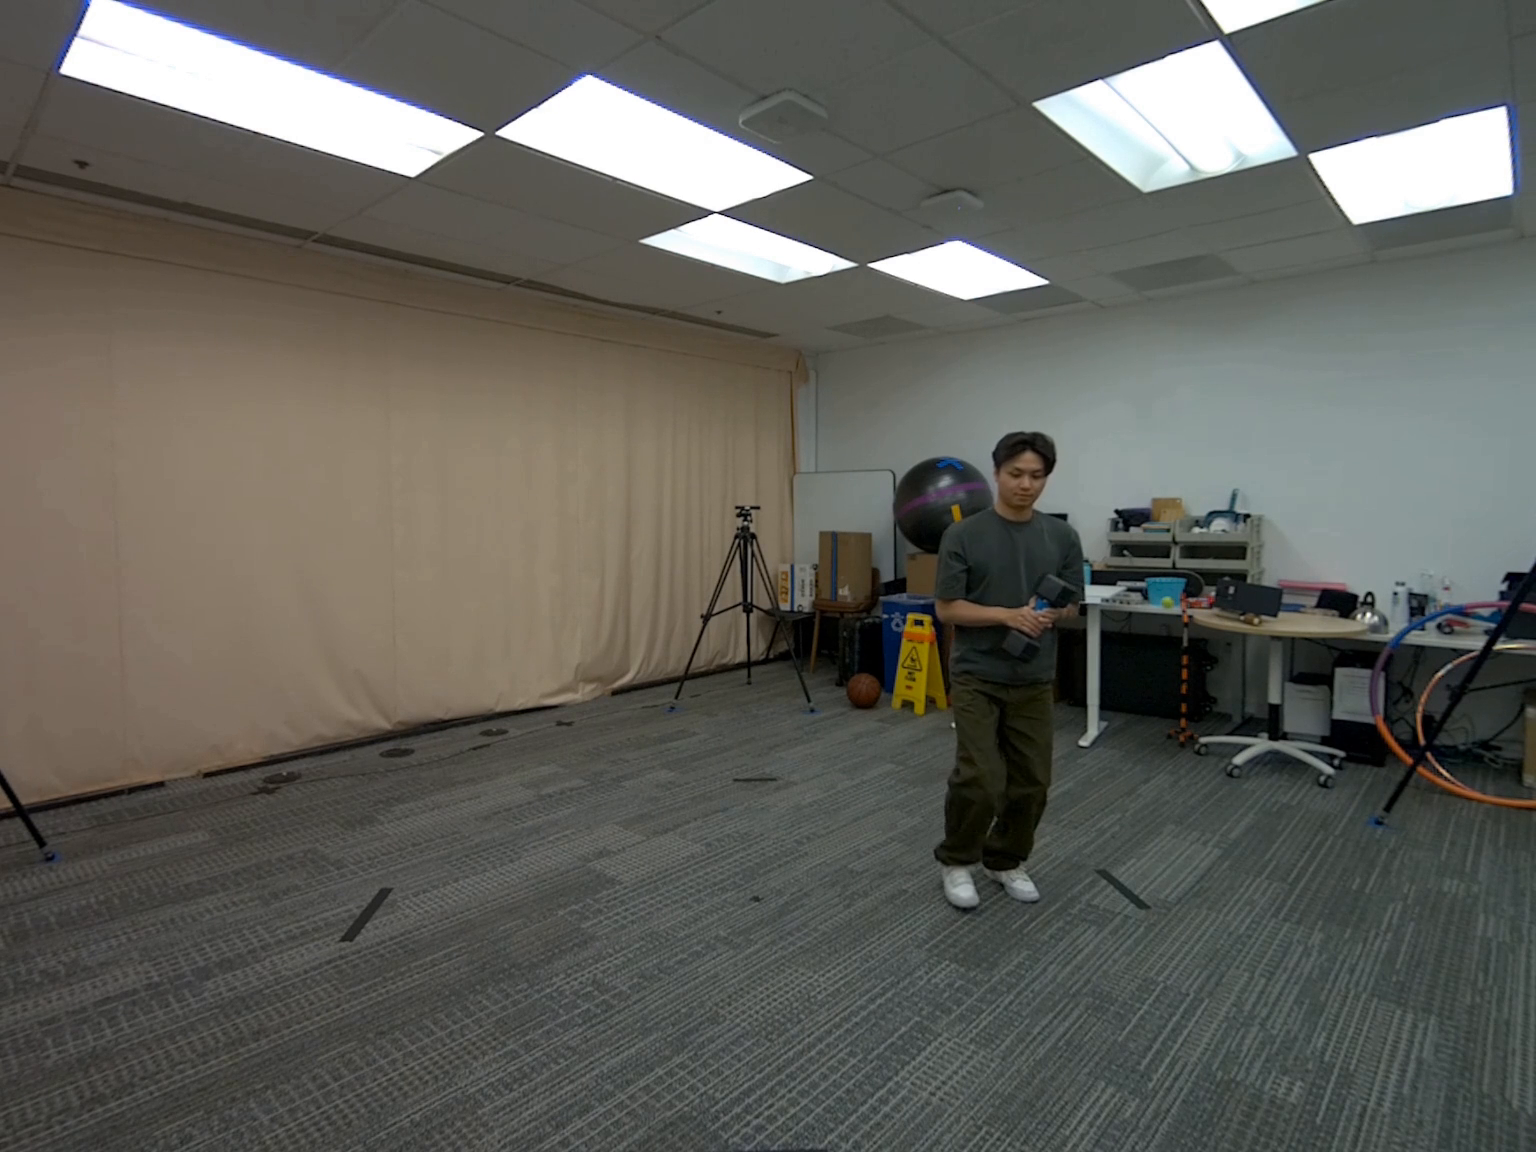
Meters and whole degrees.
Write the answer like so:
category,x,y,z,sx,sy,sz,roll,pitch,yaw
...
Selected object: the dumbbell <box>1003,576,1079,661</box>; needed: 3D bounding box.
category,x,y,z,sx,sy,sz,roll,pitch,yaw
dumbbell,0.866,0.138,2.746,0.127,0.293,0.105,35,13,31
